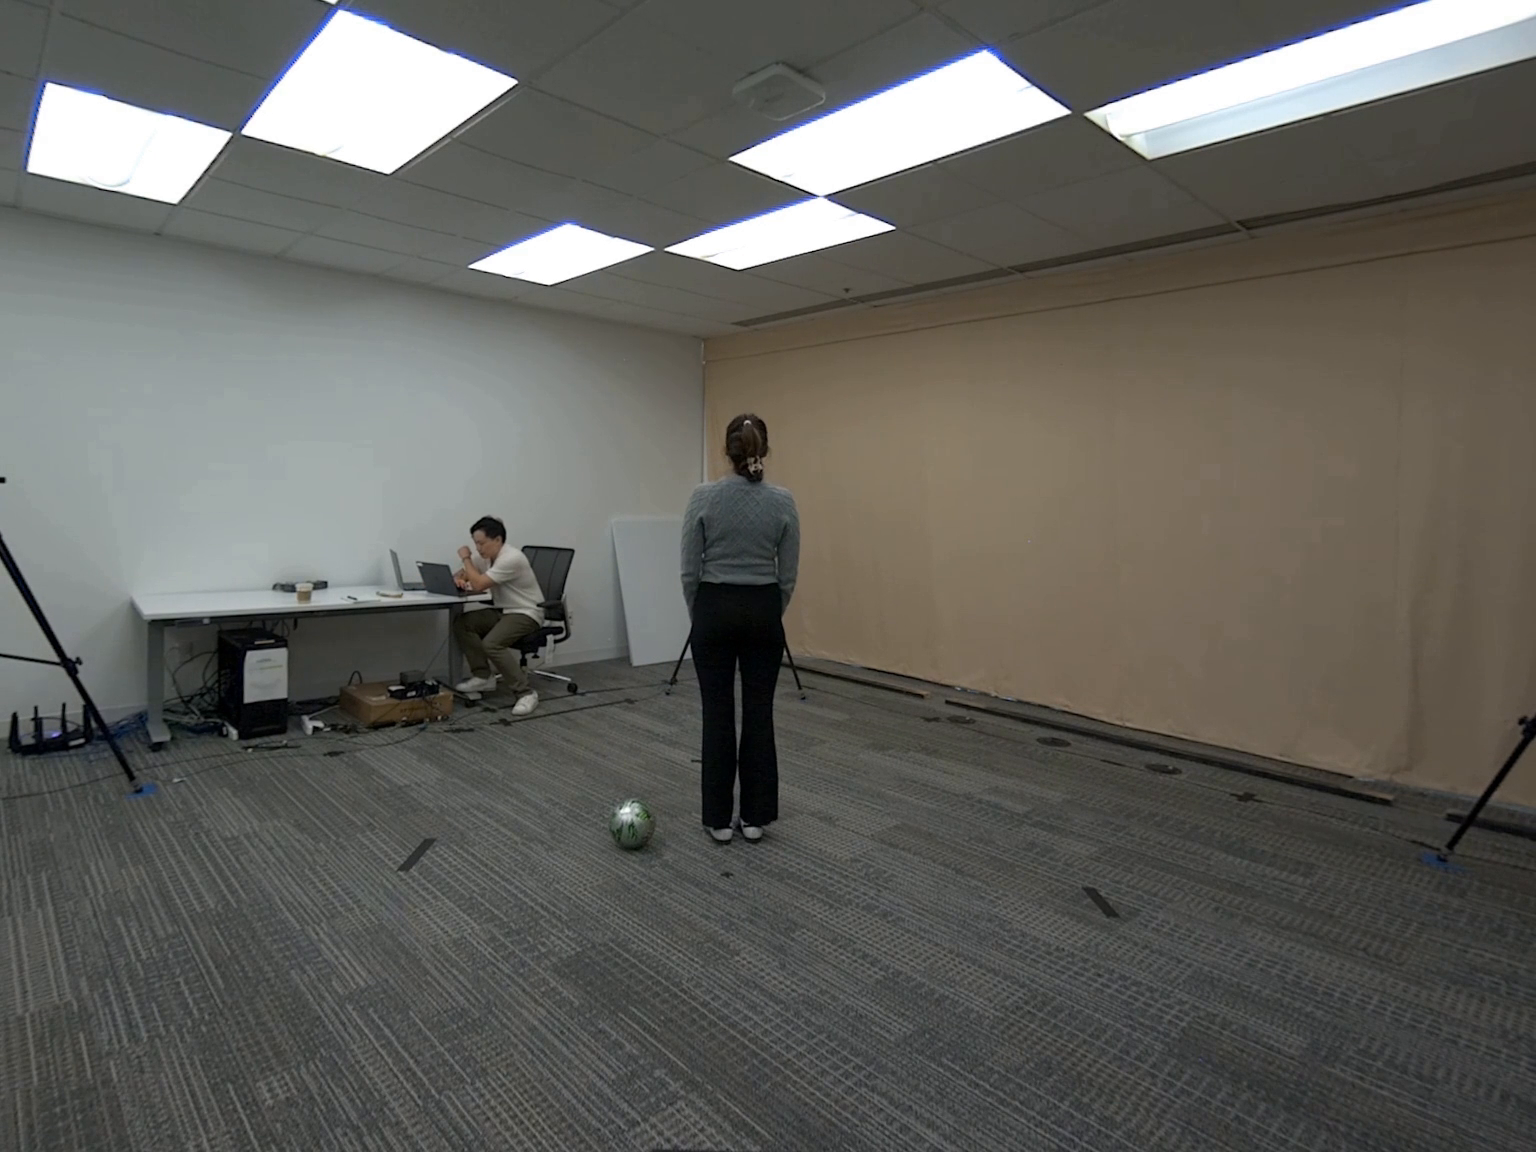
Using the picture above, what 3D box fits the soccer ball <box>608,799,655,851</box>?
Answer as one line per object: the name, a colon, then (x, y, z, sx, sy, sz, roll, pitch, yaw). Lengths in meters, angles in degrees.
soccer ball: (-0.545, 0.983, 3.329, 0.187, 0.187, 0.188, 1, 4, -1)
